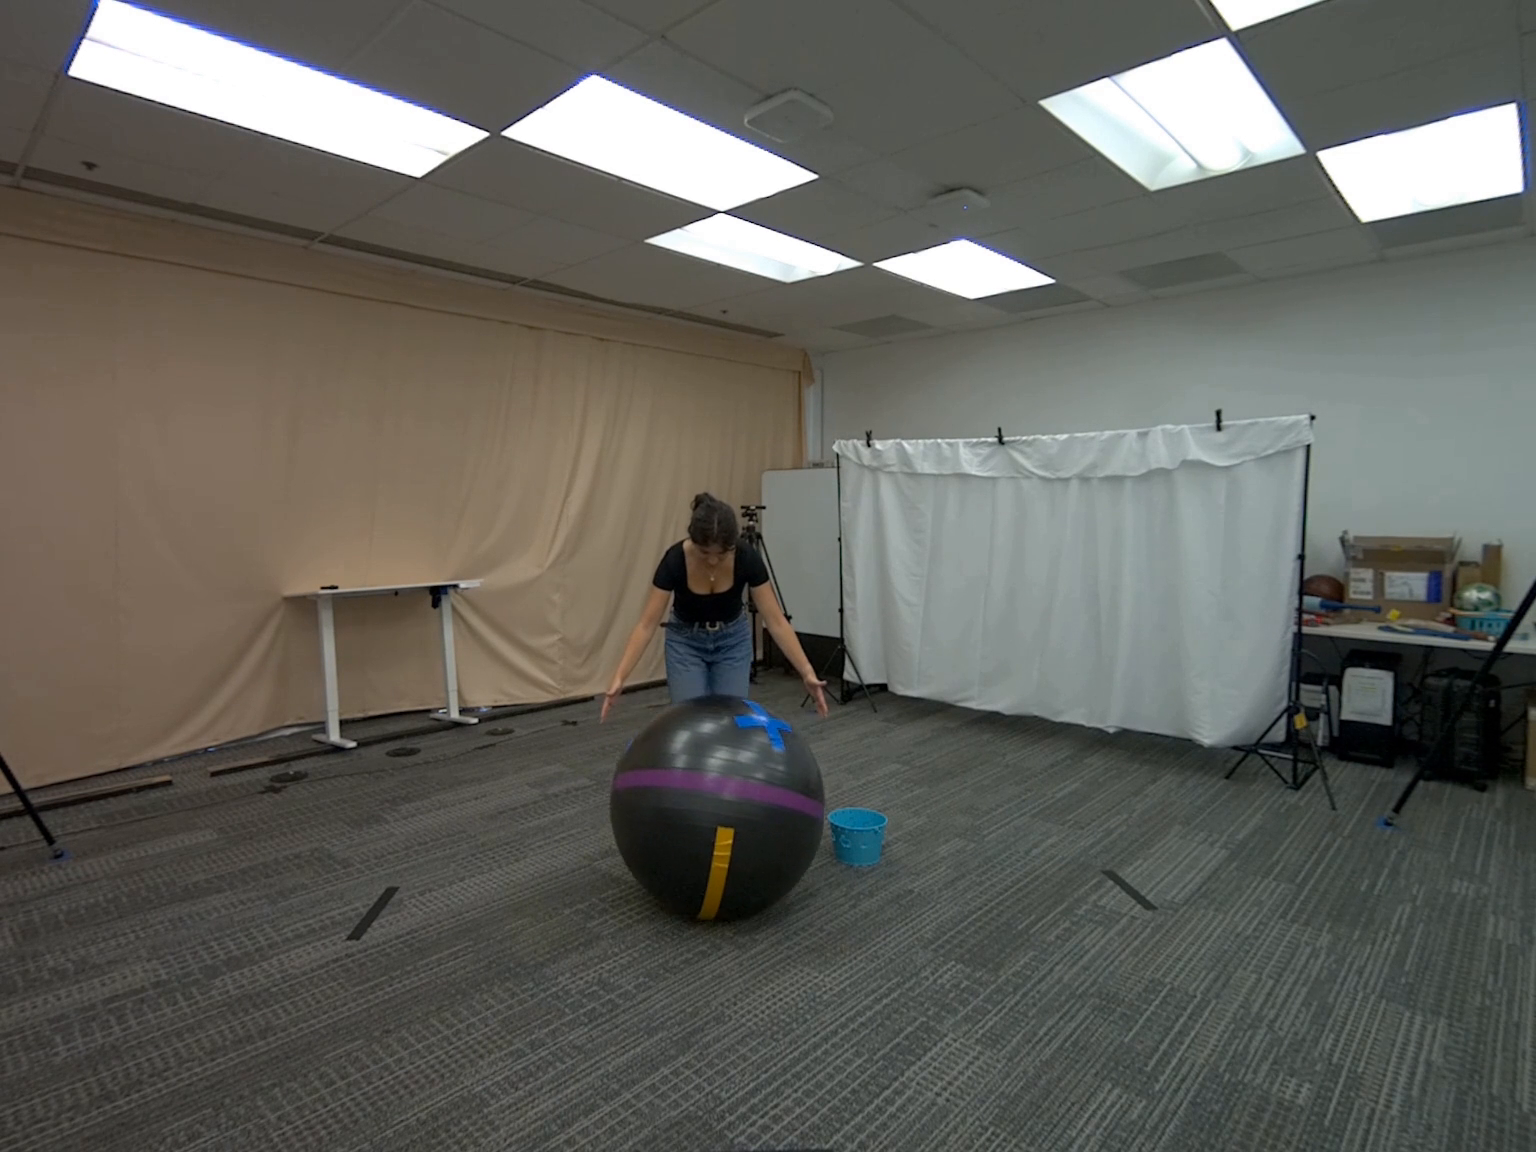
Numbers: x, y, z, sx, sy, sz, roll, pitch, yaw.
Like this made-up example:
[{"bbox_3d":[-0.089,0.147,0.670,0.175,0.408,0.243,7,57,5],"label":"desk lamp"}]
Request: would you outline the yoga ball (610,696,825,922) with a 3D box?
[{"bbox_3d":[-0.182,0.733,2.965,0.757,0.756,0.760,0,4,-2],"label":"yoga ball"}]
